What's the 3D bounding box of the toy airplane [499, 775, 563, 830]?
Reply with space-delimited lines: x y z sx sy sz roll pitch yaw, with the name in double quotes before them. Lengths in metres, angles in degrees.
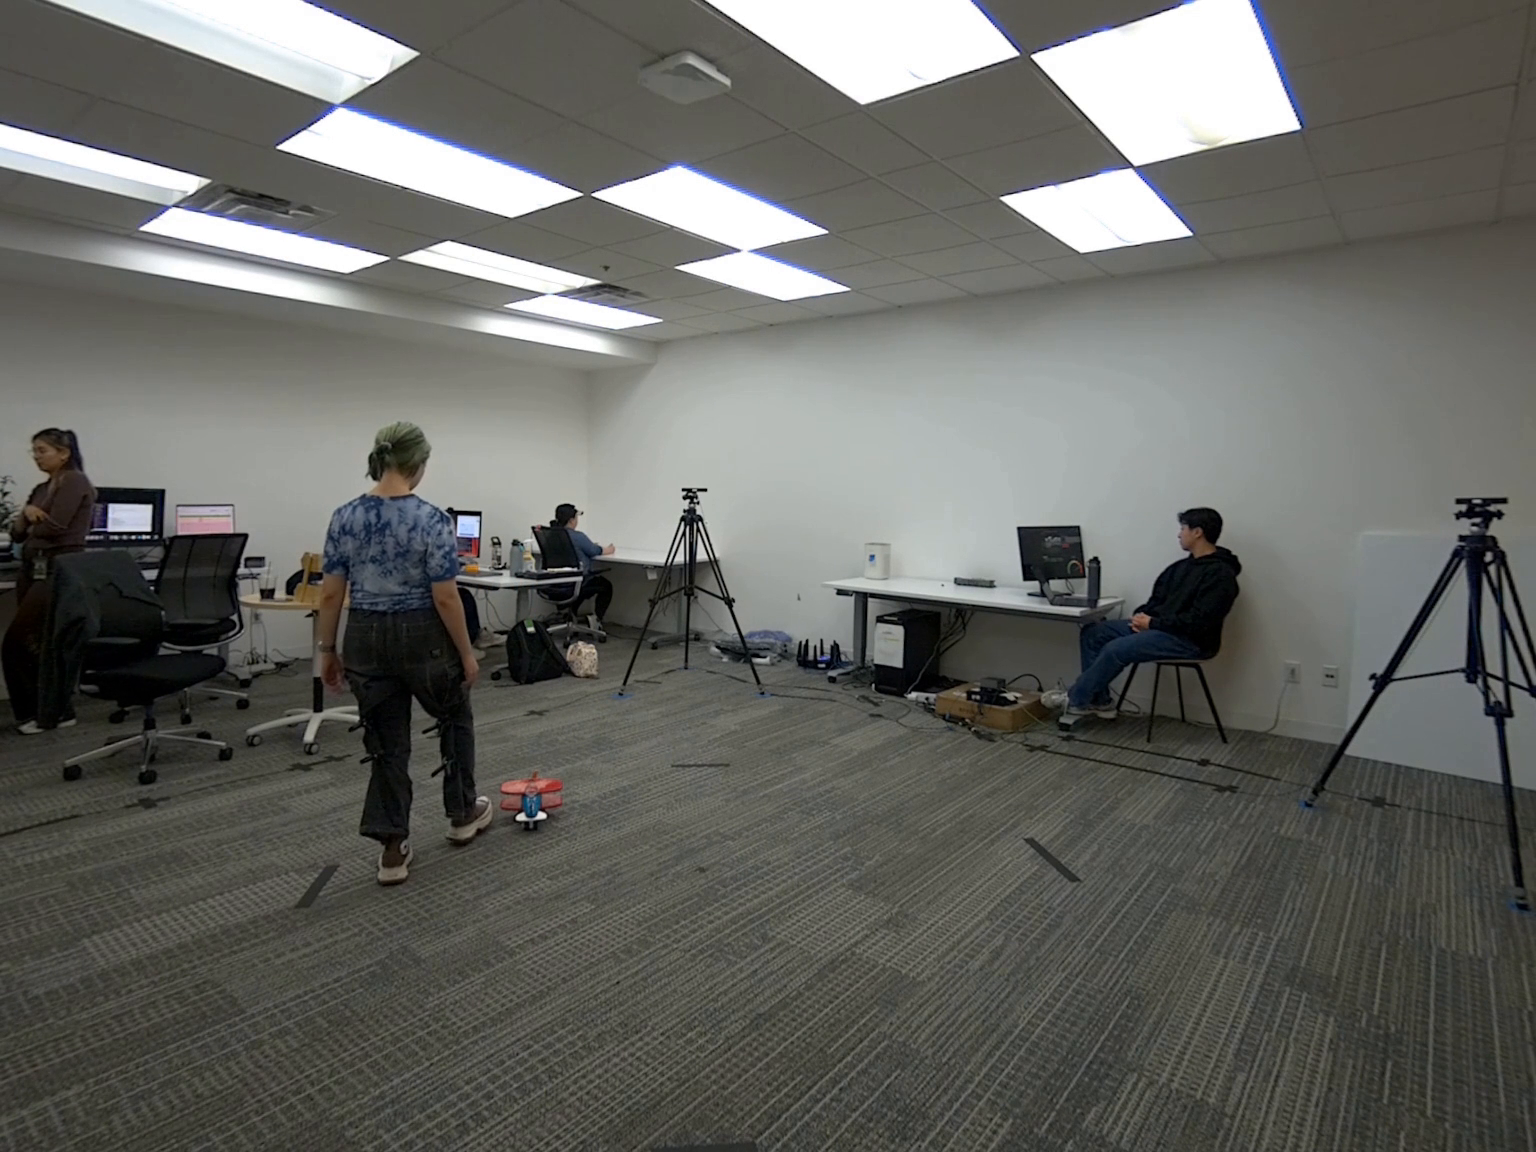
"toy airplane" -0.980 0.940 3.540 0.243 0.156 0.268 -2 5 -41
